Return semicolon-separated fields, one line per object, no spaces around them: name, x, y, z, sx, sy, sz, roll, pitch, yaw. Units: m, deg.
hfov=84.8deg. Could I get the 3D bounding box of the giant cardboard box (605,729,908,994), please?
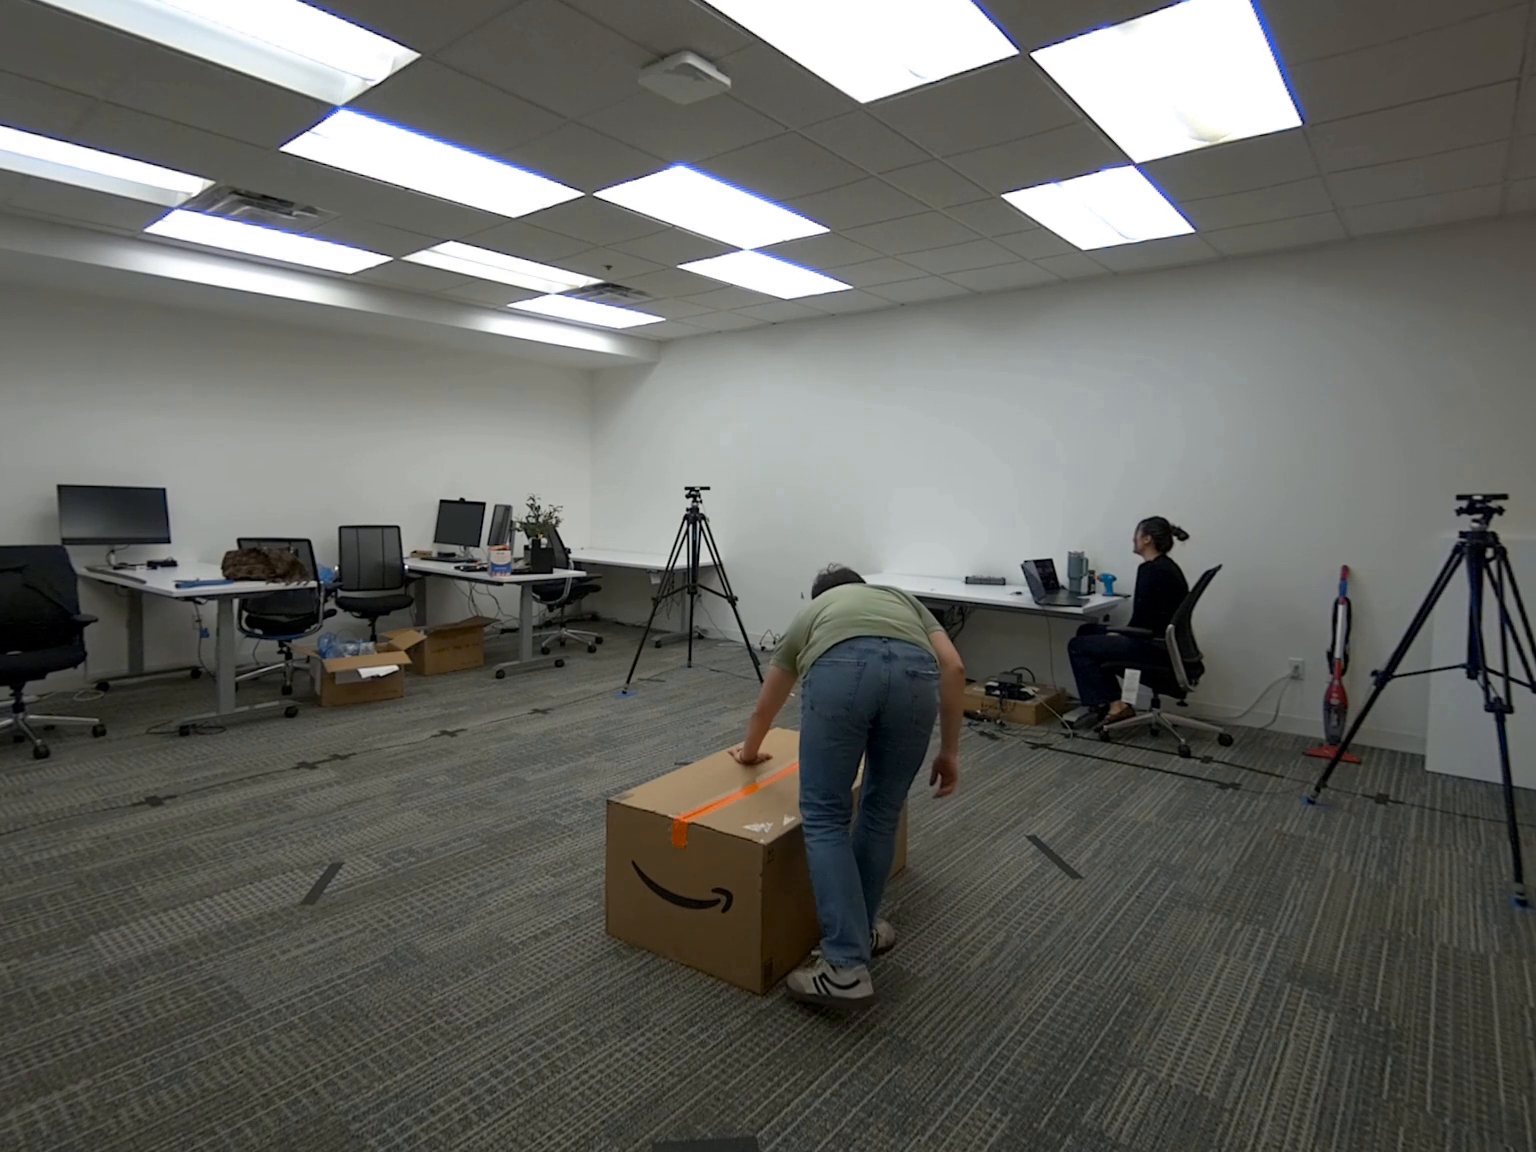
giant cardboard box;-0.005;0.878;2.888;0.596;0.424;0.998;4;6;33
